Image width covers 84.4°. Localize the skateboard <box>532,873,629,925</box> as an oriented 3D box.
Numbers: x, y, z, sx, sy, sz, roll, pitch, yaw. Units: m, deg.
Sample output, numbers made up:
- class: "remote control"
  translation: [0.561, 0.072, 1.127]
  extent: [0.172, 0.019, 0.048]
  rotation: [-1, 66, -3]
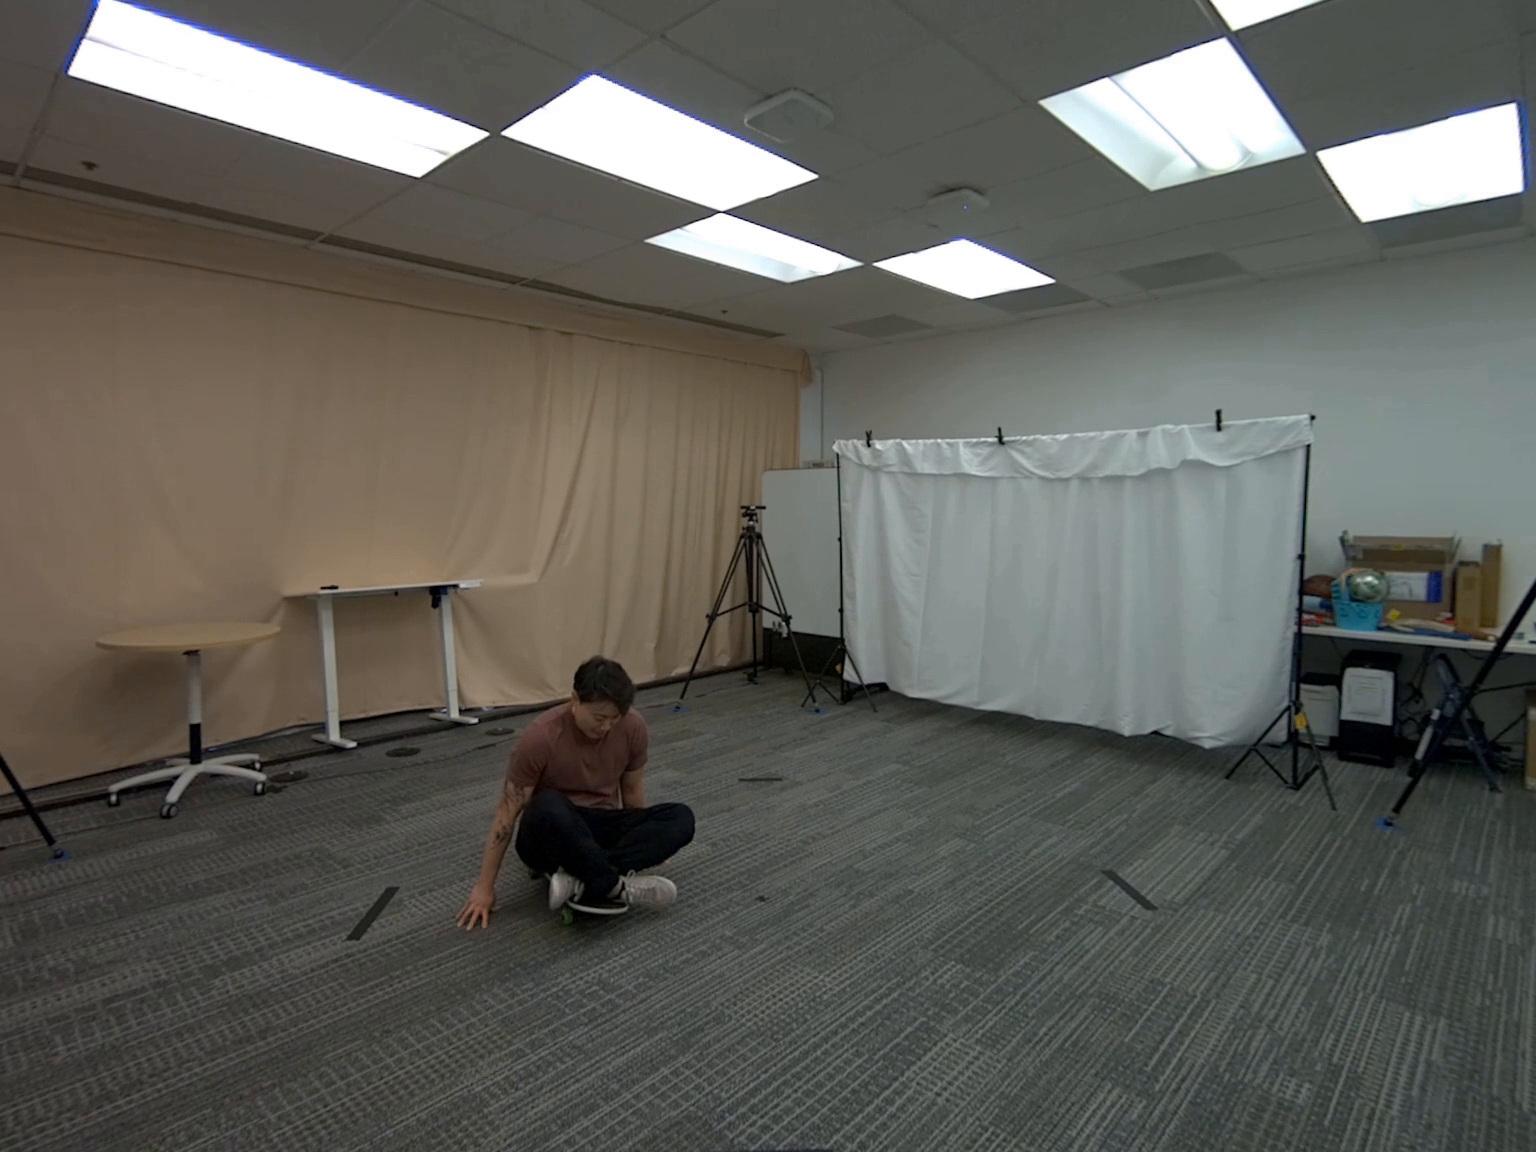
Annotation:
- class: "skateboard"
  translation: [-0.692, 1.100, 3.040]
  extent: [0.187, 0.110, 0.810]
  rotation: [10, -2, -35]
